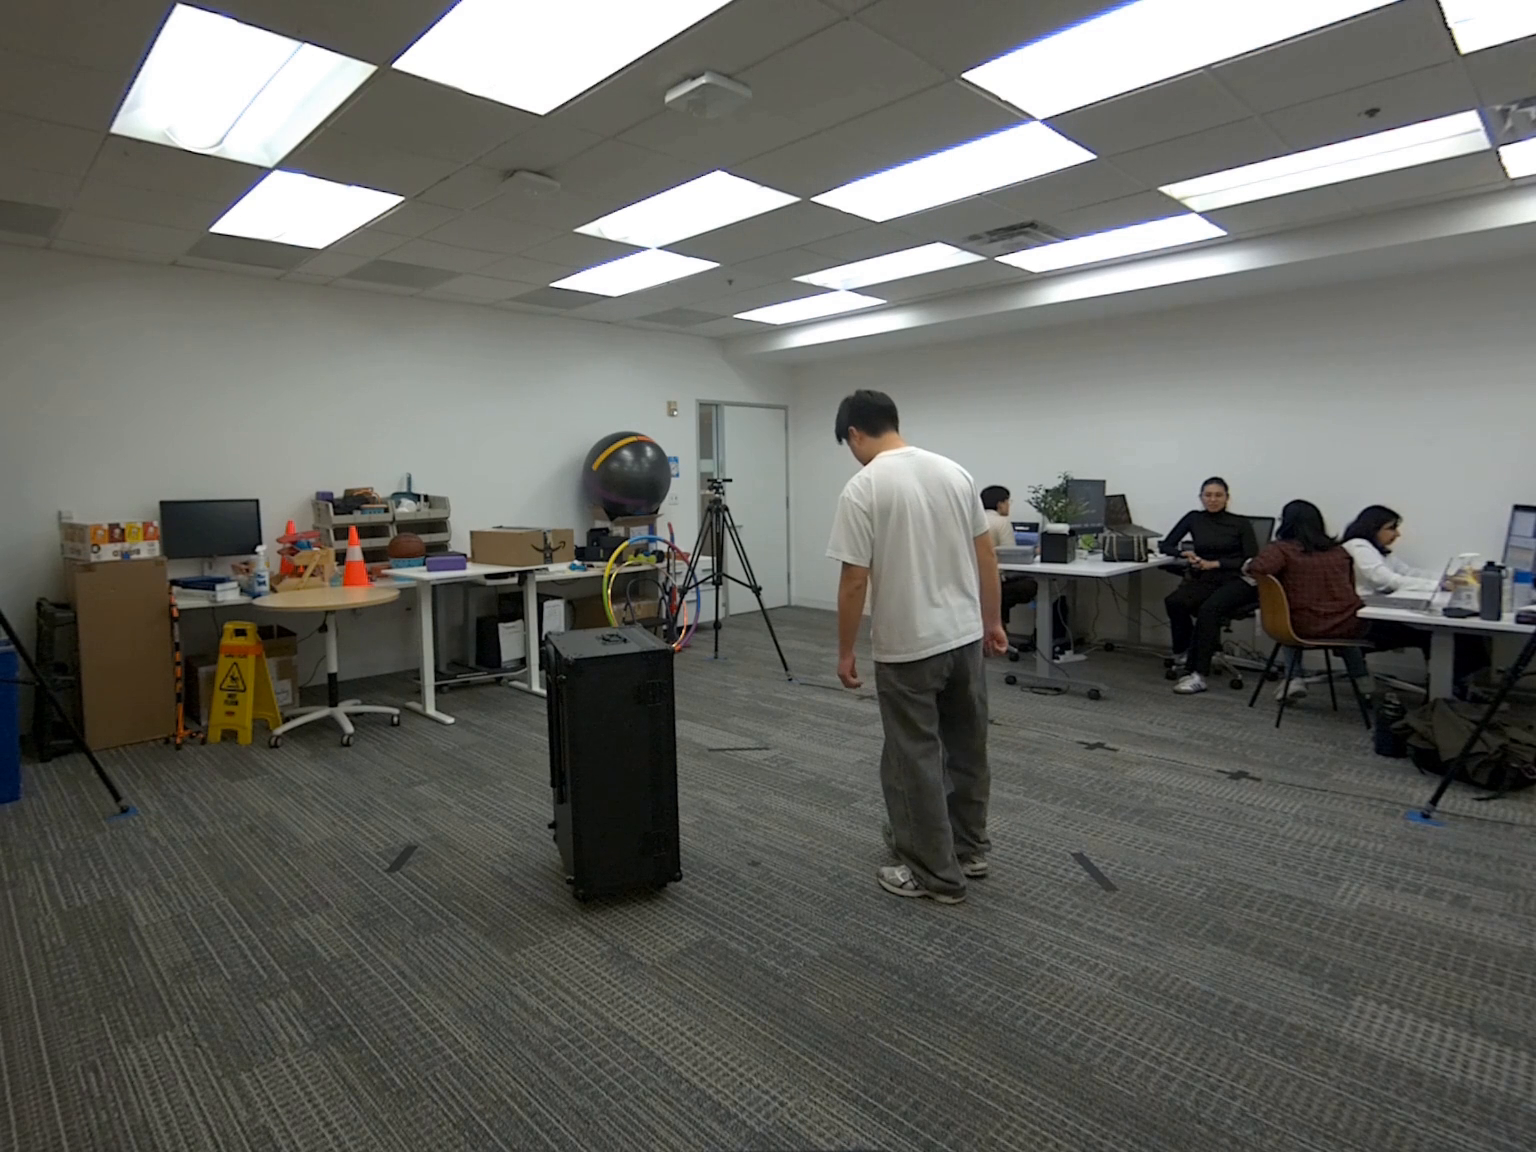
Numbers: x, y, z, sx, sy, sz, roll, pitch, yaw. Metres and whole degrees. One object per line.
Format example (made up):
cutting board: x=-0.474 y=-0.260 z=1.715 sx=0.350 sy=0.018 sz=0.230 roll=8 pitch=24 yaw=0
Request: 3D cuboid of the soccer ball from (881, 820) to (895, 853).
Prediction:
soccer ball: x=0.518 y=0.929 z=3.139 sx=0.187 sy=0.187 sz=0.188 roll=-1 pitch=5 yaw=-2
